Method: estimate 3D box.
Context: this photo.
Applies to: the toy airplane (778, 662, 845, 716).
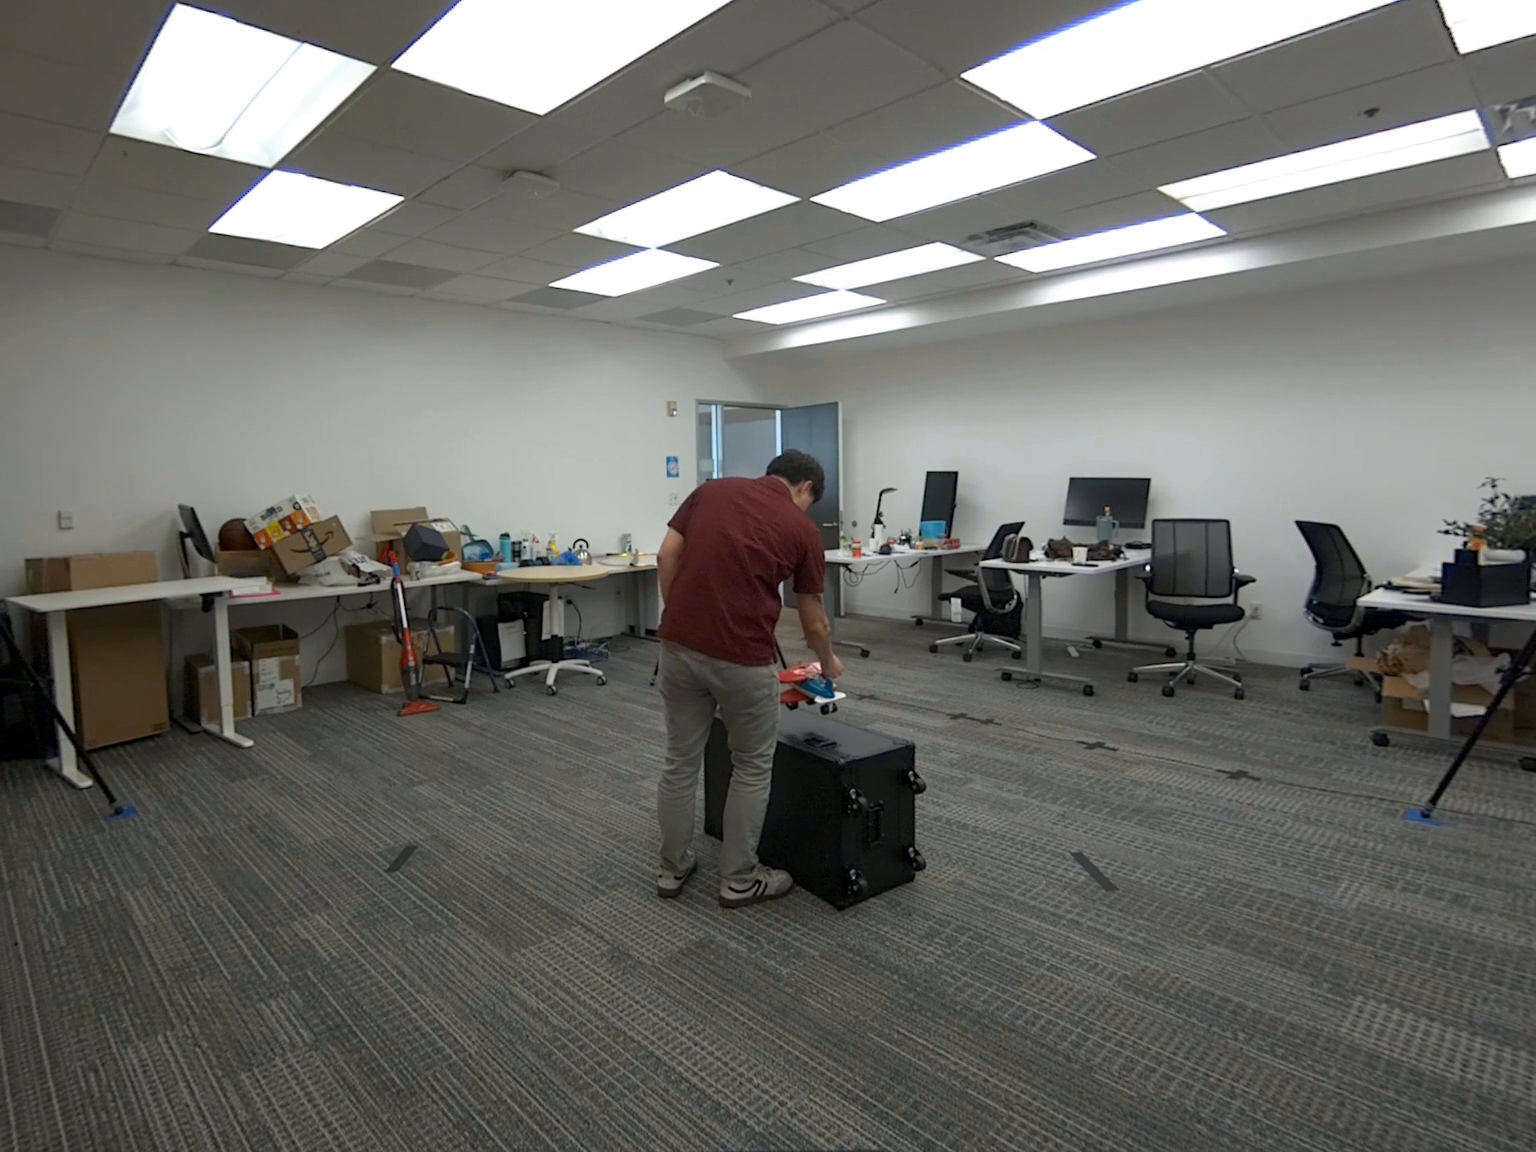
[{"bbox_3d":[0.178,0.408,3.097,0.265,0.156,0.245,-6,2,35],"label":"toy airplane"}]
